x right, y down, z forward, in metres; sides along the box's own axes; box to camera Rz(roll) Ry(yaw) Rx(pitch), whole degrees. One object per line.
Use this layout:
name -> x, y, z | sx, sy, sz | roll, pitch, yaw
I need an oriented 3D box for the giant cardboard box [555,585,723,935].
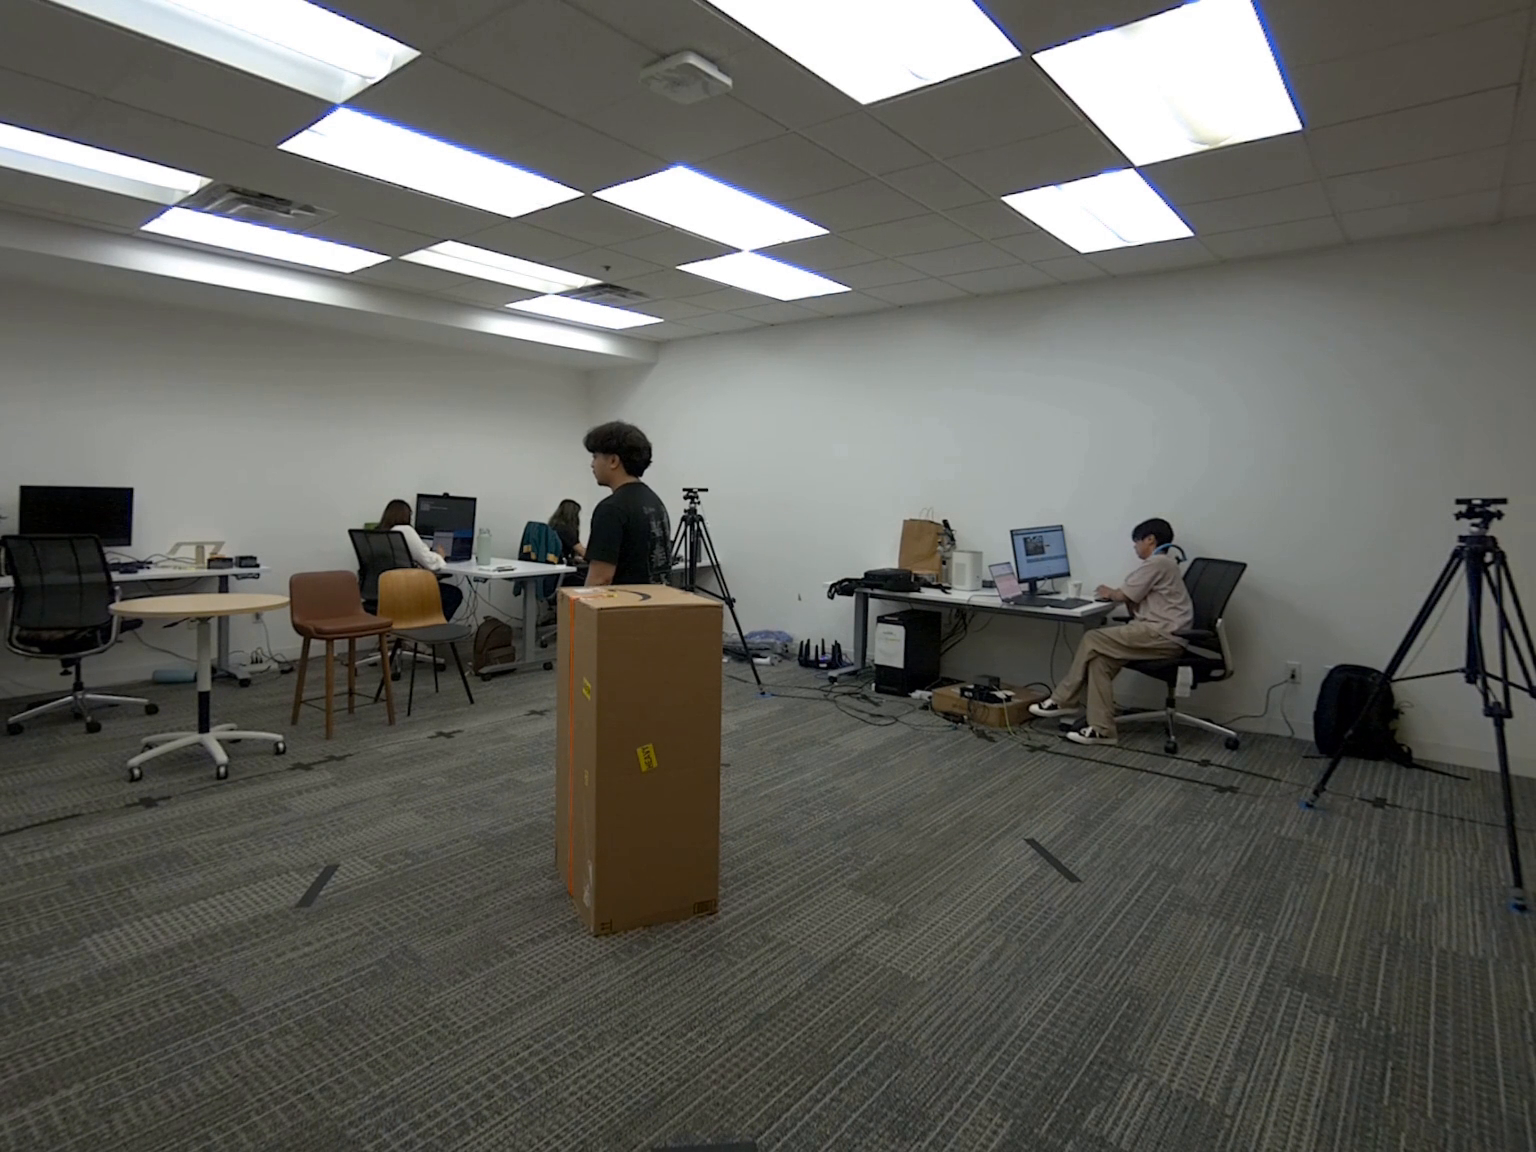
giant cardboard box -> -0.475, 0.570, 2.937 | 0.437, 1.024, 0.599 | -1, 4, -25
